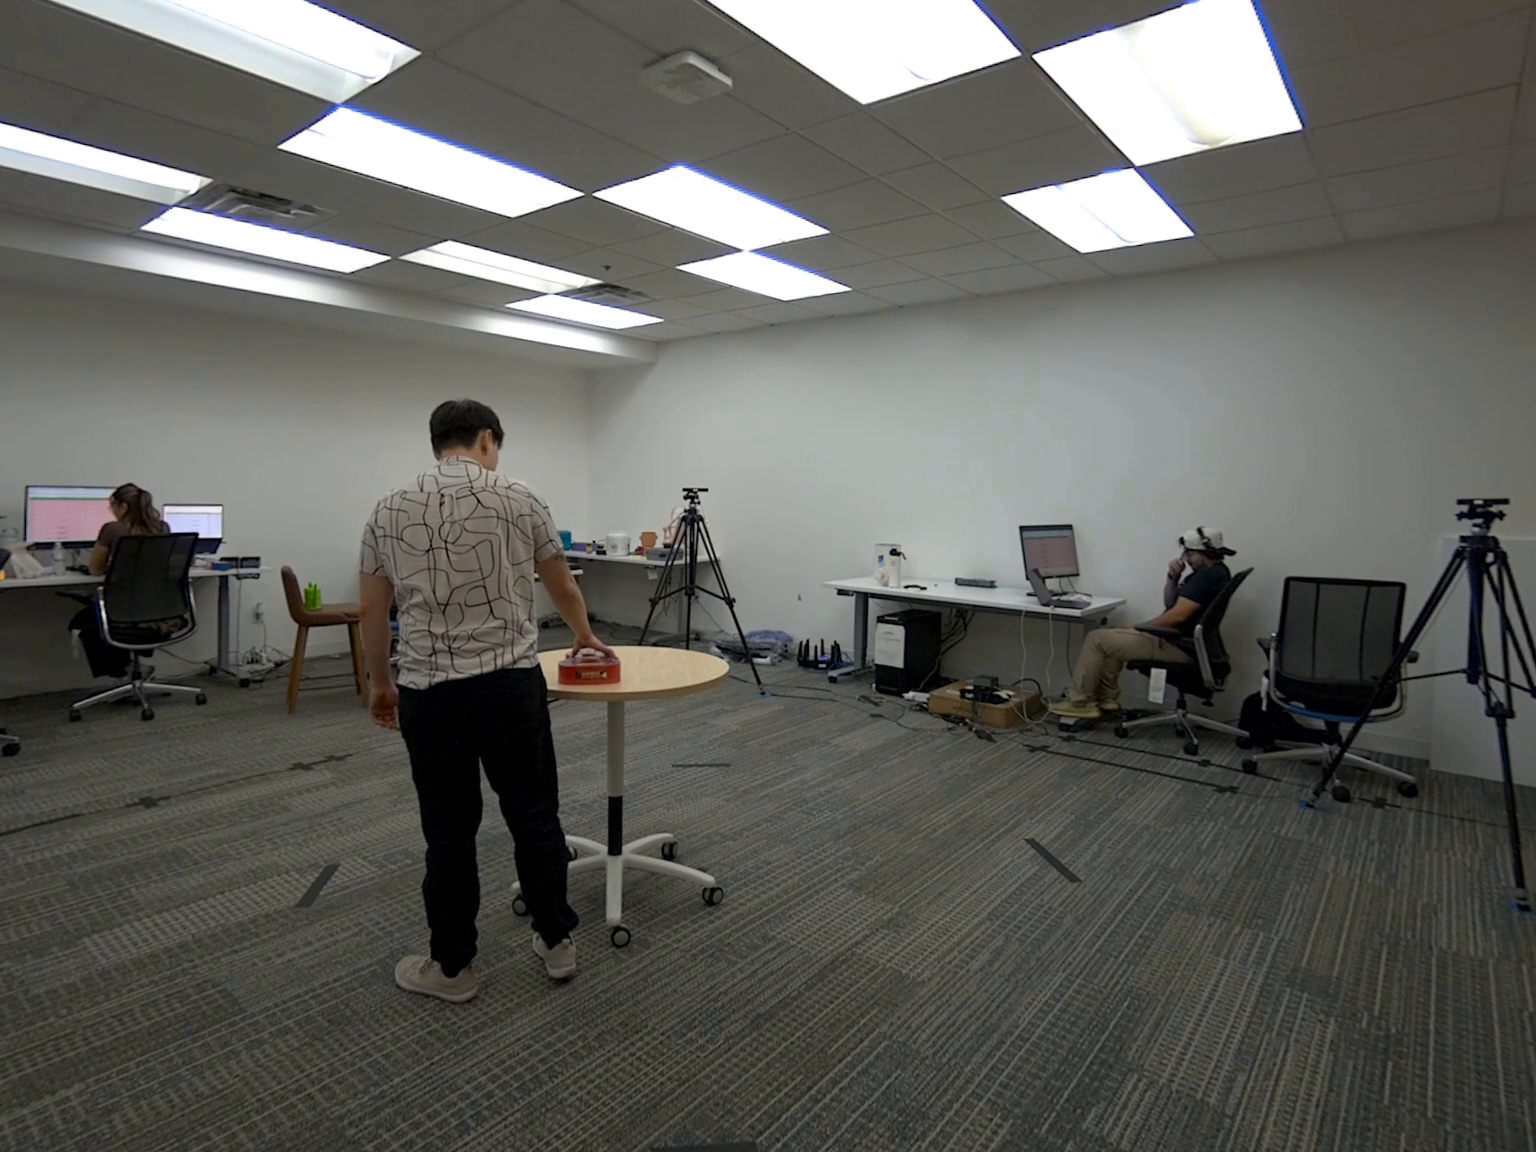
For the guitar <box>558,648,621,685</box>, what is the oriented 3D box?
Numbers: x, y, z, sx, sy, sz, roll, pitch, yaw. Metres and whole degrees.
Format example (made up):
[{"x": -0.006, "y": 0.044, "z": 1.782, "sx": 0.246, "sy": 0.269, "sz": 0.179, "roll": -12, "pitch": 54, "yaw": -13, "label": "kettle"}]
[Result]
[{"x": -0.582, "y": 0.271, "z": 2.826, "sx": 0.192, "sy": 0.070, "sz": 0.502, "roll": 0, "pitch": 7, "yaw": -4, "label": "guitar"}]
